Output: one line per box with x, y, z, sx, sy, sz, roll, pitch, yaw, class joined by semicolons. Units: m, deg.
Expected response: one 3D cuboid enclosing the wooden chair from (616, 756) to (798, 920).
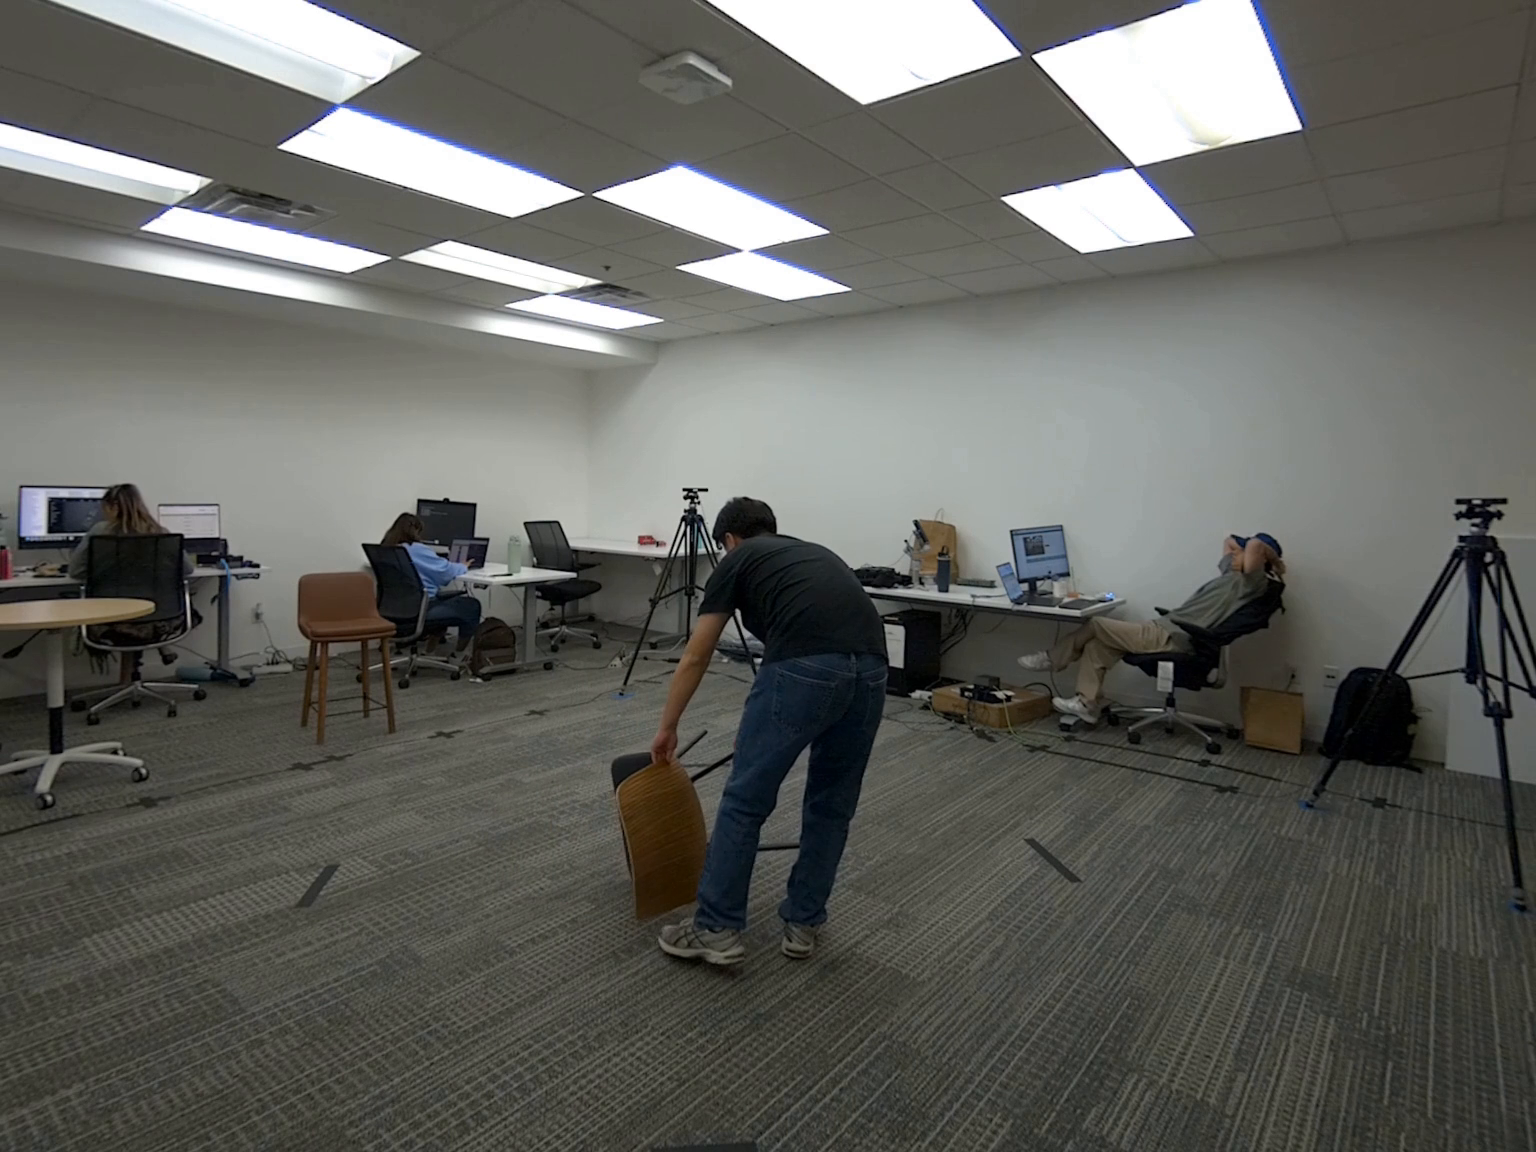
-0.339;0.825;2.902;0.535;0.481;0.853;-15;-5;38;wooden chair
